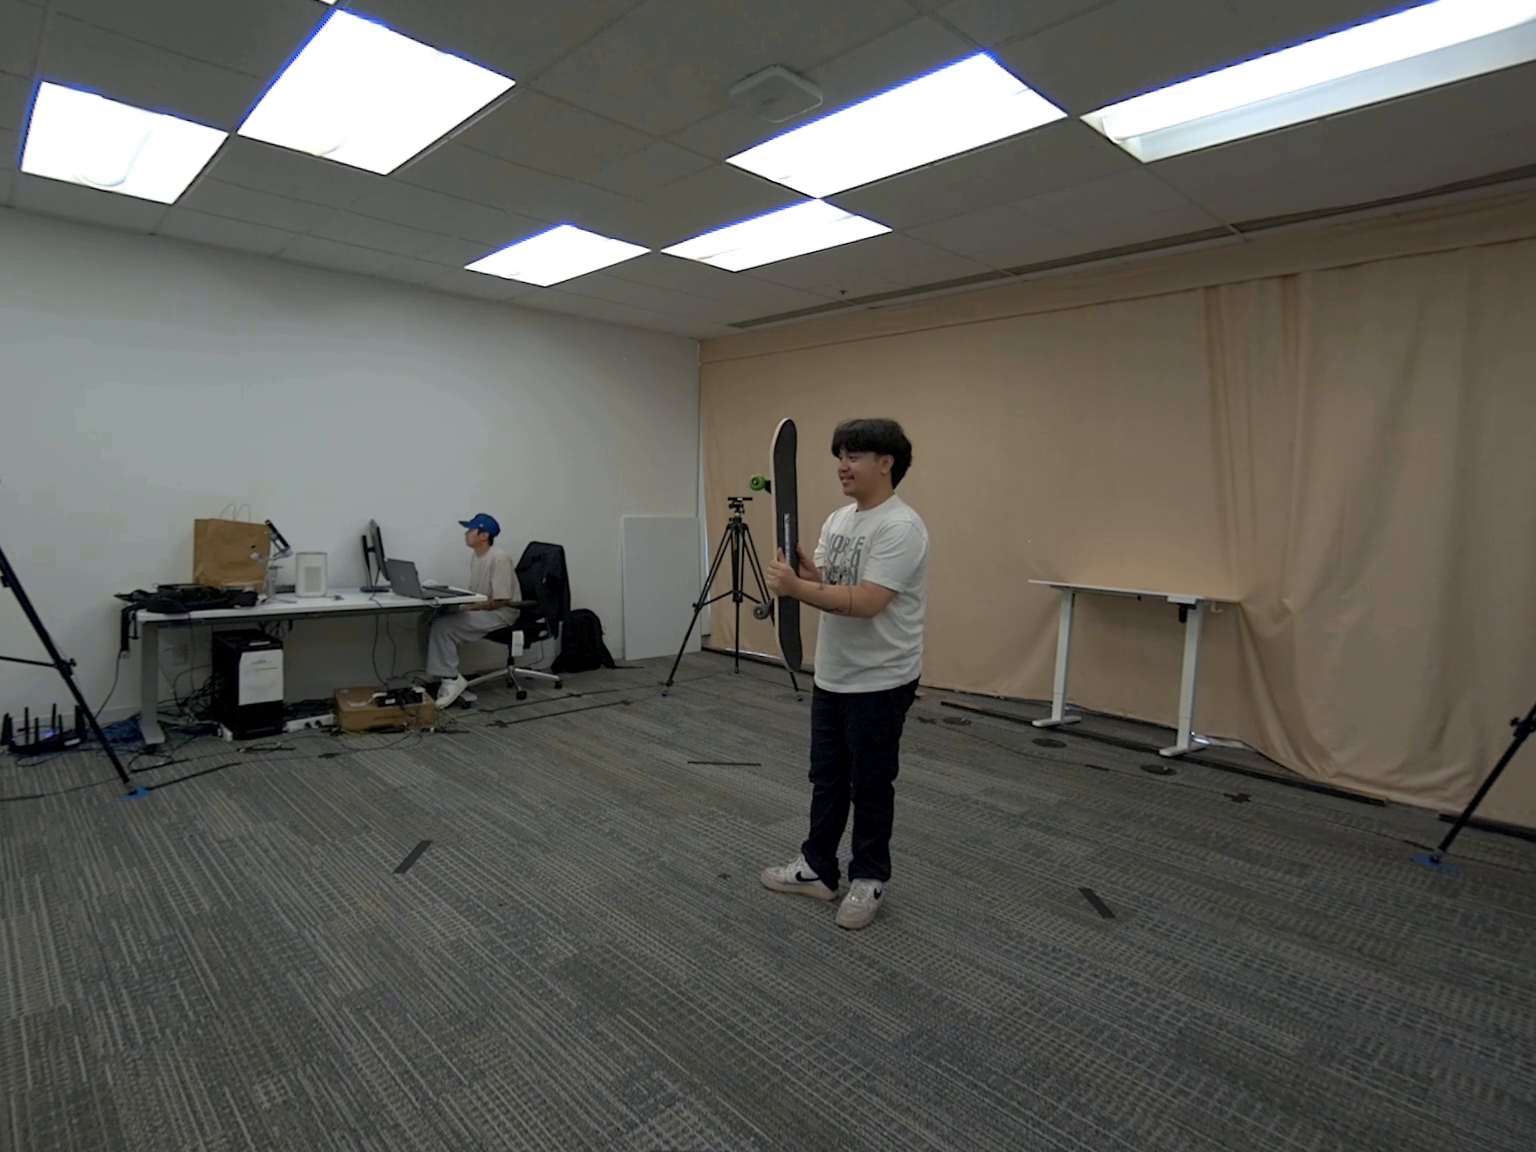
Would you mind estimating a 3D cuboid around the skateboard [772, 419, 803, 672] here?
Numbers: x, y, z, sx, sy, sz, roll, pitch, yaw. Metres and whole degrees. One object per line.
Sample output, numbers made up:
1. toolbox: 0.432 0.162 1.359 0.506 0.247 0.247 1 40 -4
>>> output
1. skateboard: 0.031 -0.096 2.650 0.112 0.784 0.190 -2 3 25
